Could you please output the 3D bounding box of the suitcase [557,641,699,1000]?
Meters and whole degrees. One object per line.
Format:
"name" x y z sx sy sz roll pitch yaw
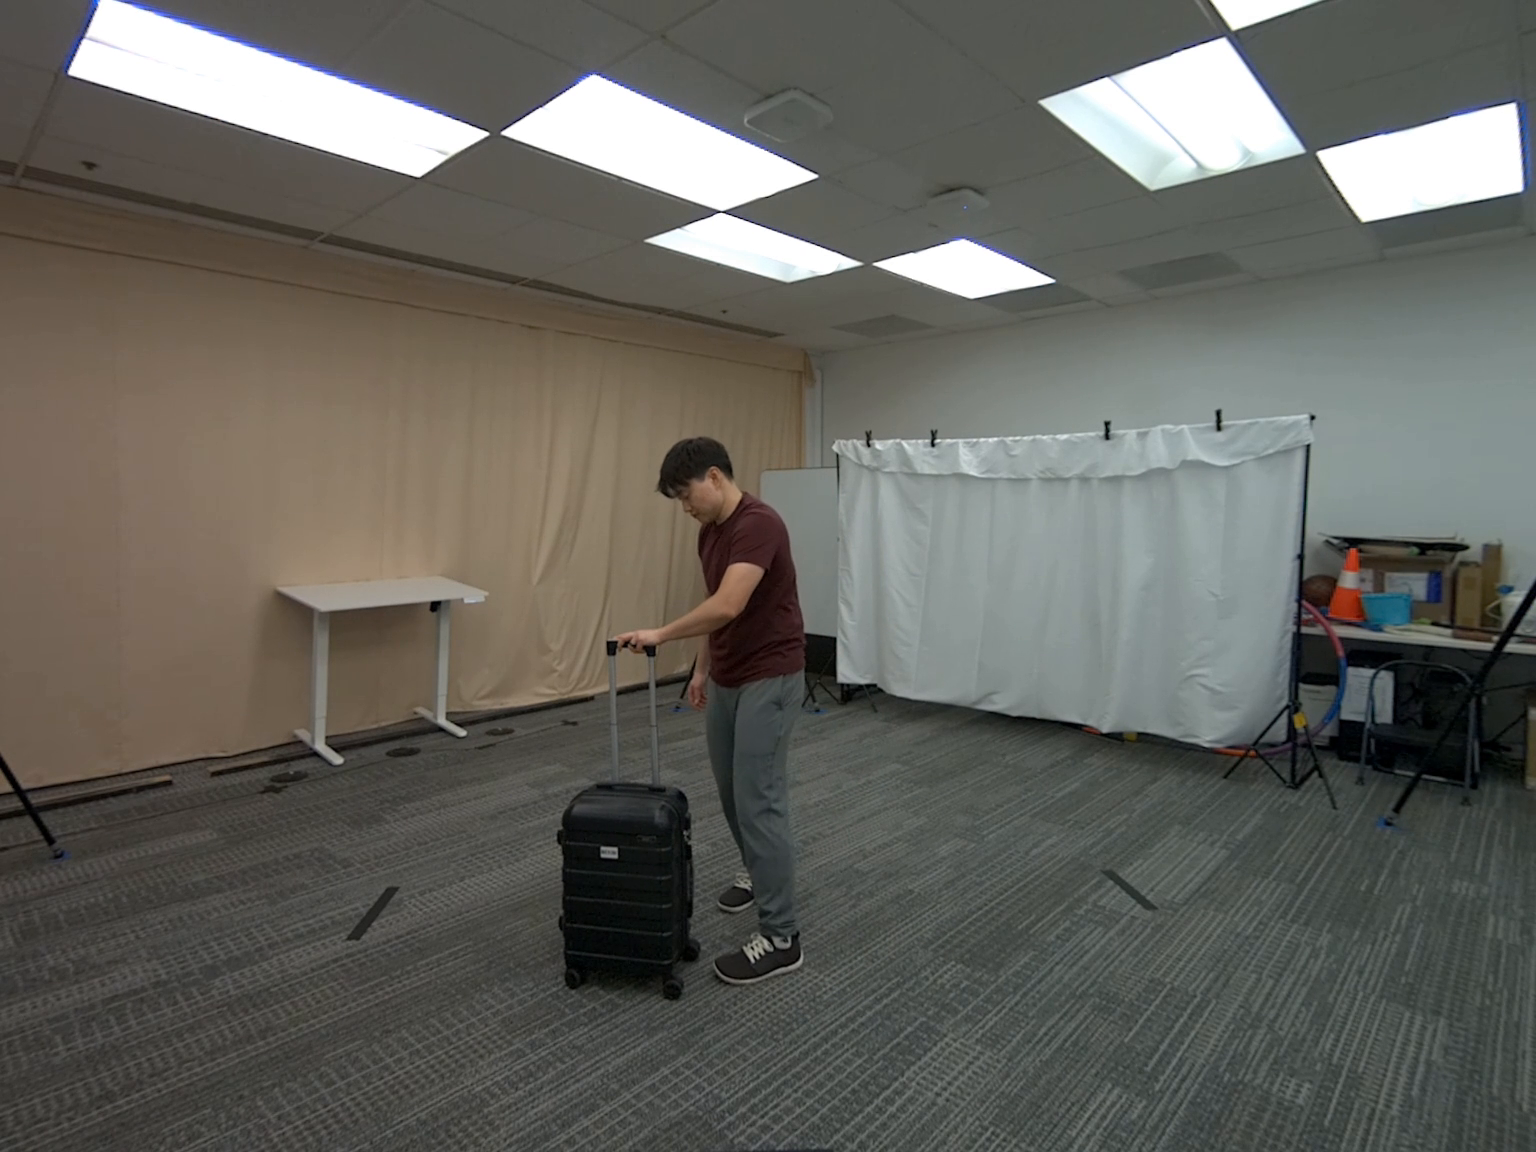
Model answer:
"suitcase" -0.427 0.713 2.495 0.389 0.977 0.254 -1 3 11
